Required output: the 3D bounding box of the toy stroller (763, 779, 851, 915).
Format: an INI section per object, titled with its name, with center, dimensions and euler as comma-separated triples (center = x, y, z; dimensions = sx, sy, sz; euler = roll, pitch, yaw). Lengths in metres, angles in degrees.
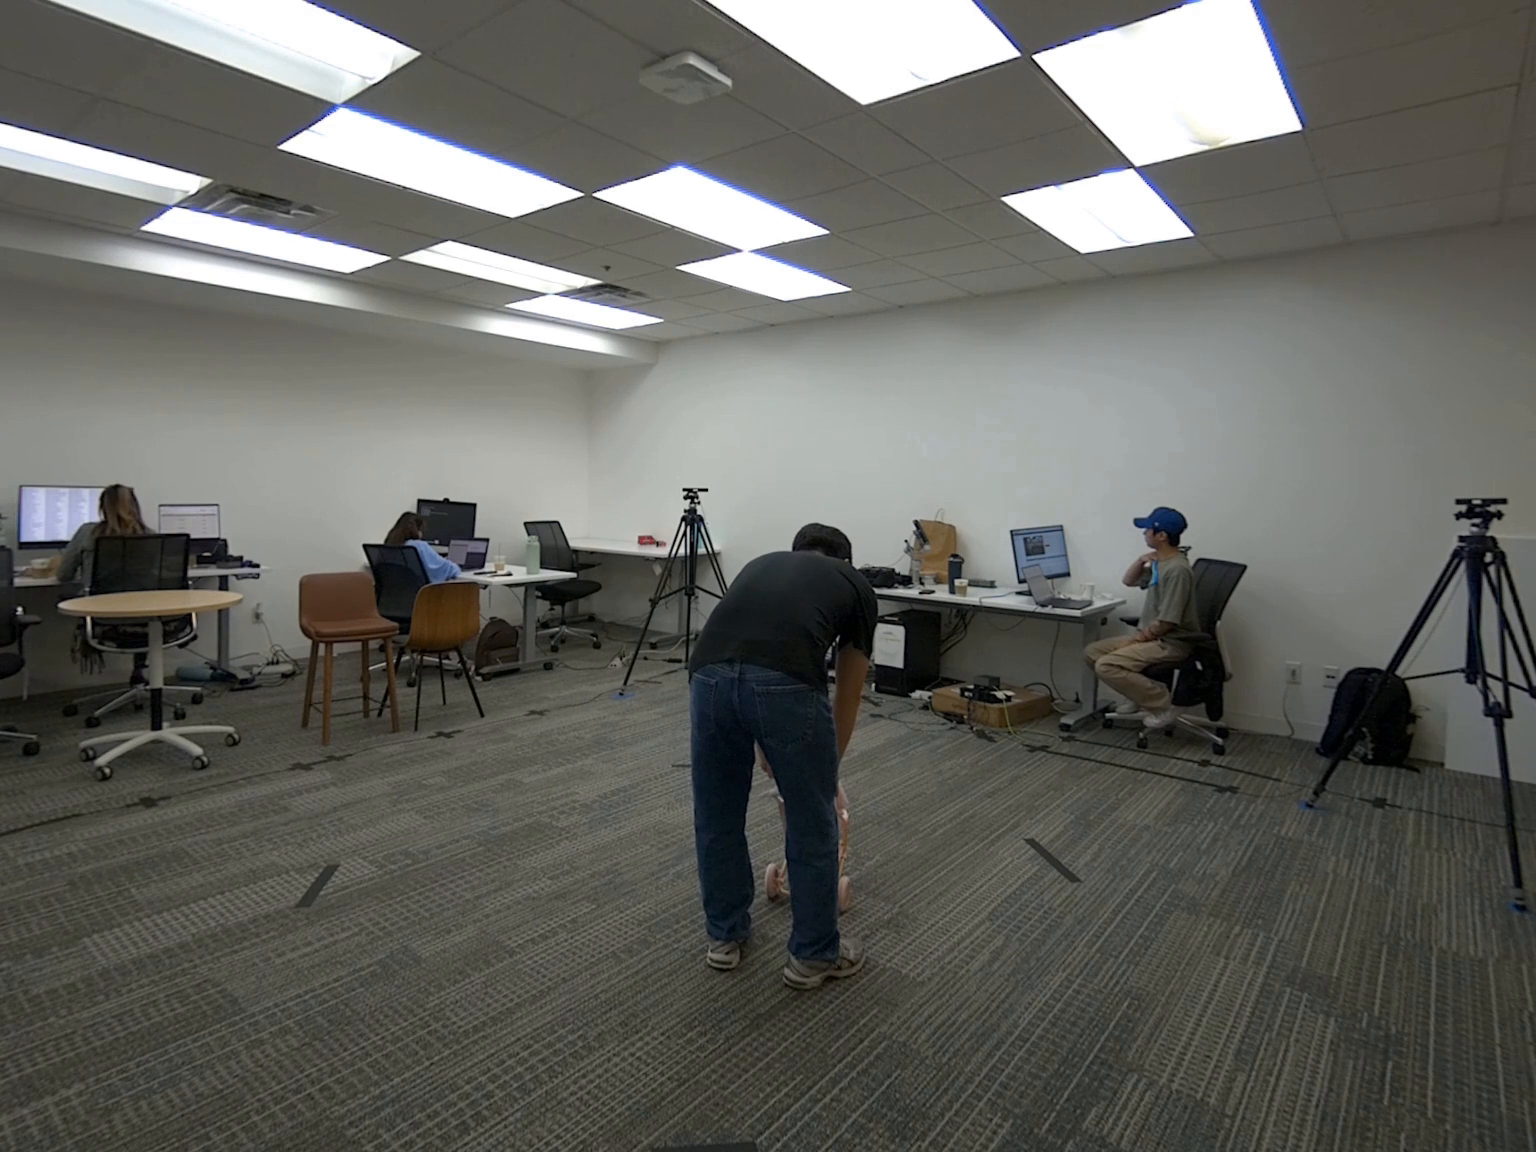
[toy stroller]
center = 0.153, 0.868, 2.917
dimensions = 0.288, 0.525, 0.339
euler = 4, 20, 23
